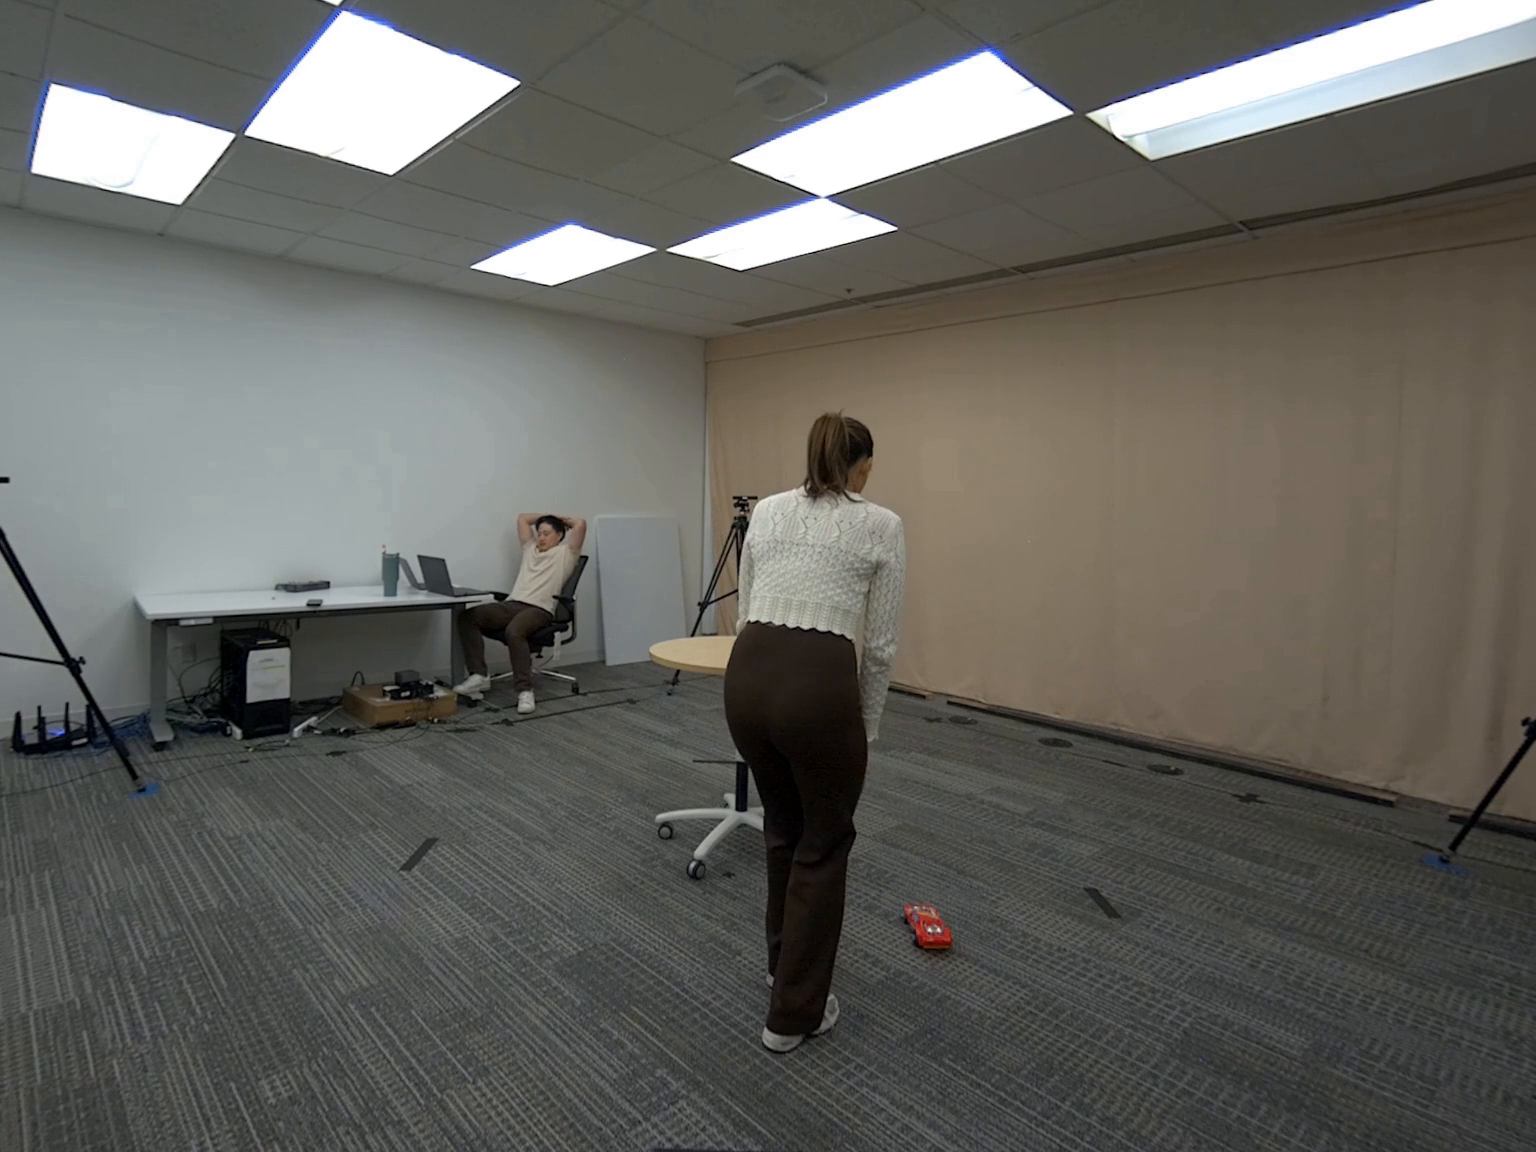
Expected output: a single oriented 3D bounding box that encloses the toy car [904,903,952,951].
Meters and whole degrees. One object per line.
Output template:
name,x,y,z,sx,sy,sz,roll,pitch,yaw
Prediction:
toy car,0.508,1.127,2.686,0.130,0.083,0.254,1,-6,-4
